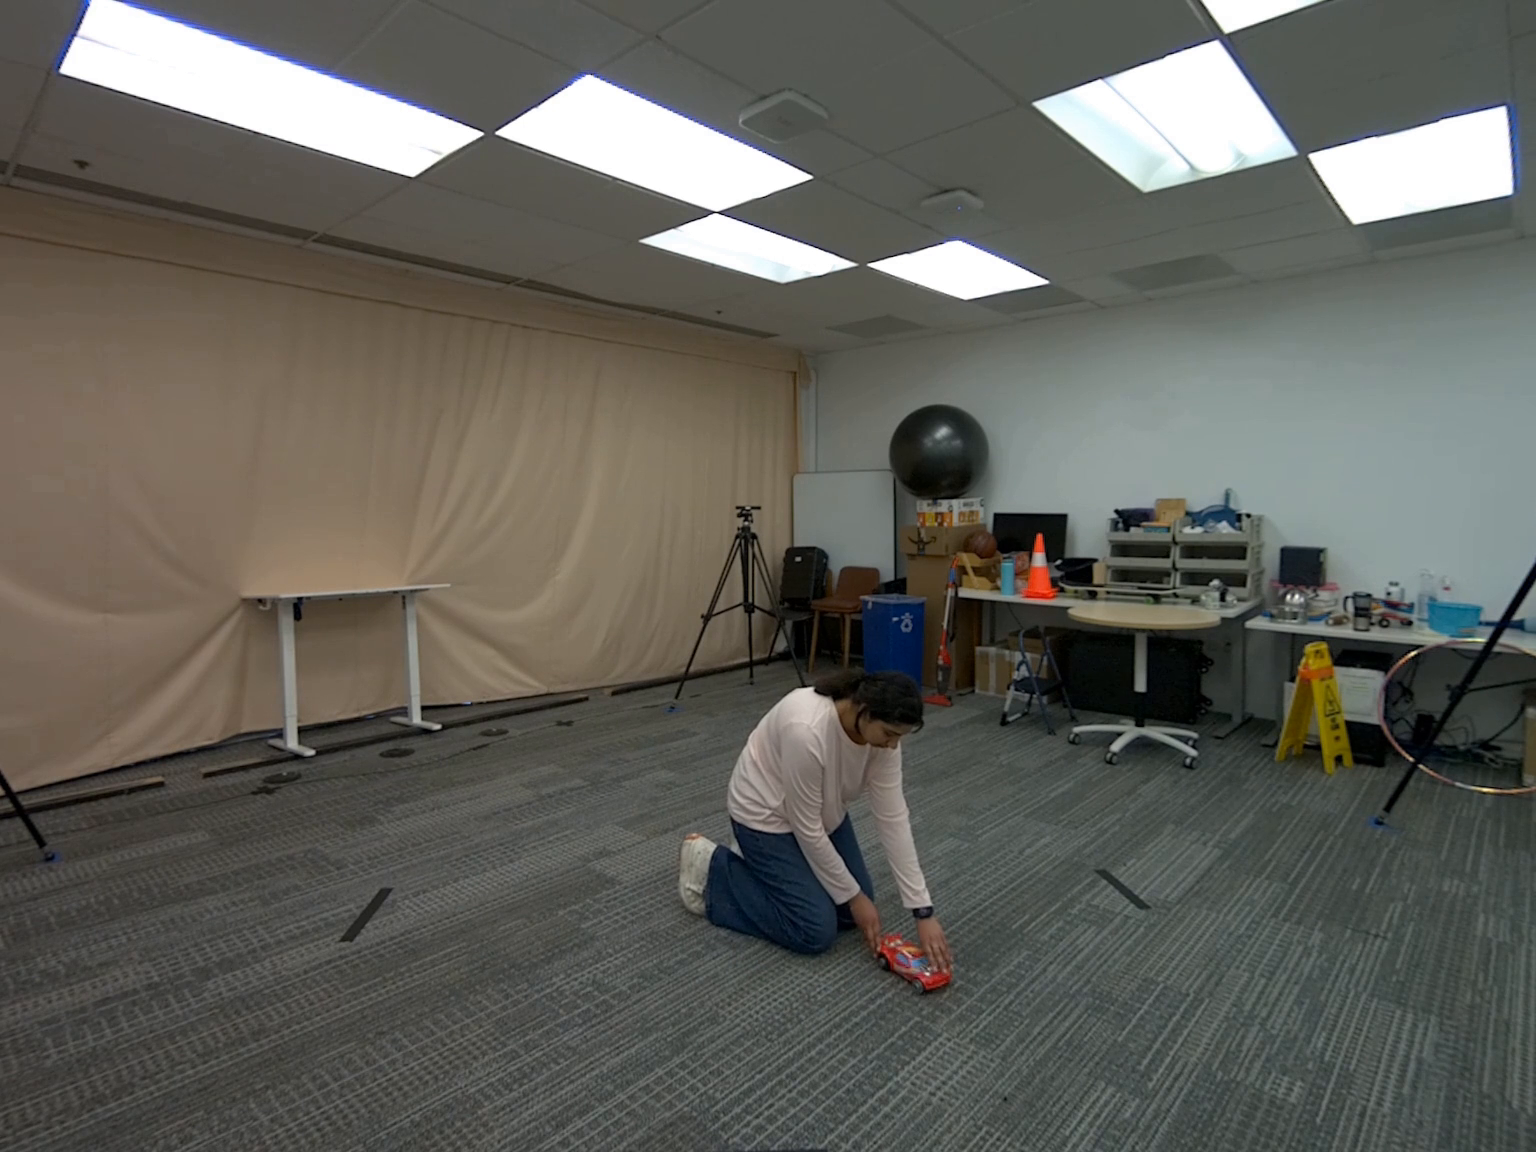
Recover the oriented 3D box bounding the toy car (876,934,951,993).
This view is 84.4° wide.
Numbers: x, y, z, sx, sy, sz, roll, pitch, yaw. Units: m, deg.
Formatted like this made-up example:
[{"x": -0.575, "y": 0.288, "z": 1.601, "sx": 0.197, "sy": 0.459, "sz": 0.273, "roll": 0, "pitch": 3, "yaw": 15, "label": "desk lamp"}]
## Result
[{"x": 0.432, "y": 1.155, "z": 2.504, "sx": 0.127, "sy": 0.083, "sz": 0.263, "roll": 0, "pitch": 14, "yaw": -31, "label": "toy car"}]
